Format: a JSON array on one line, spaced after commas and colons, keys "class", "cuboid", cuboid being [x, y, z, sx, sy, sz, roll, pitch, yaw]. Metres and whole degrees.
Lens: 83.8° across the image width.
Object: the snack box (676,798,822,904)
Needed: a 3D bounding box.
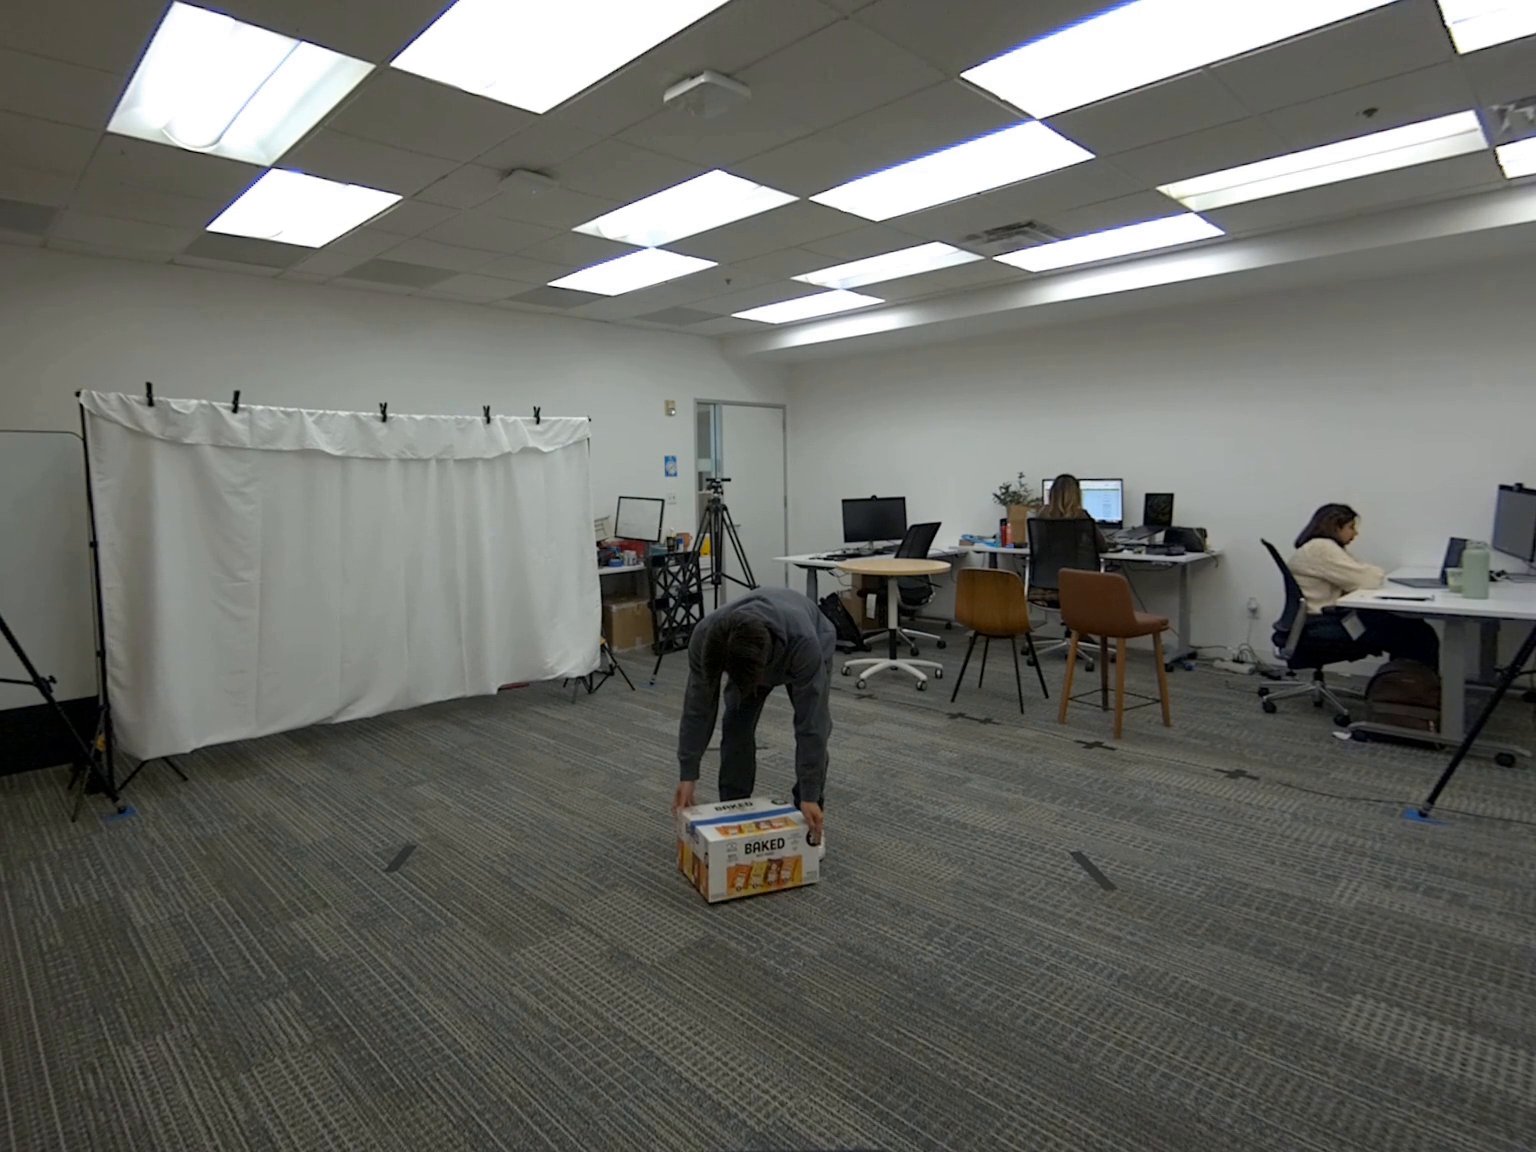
[{"class": "snack box", "cuboid": [-0.076, 0.941, 3.002, 0.397, 0.205, 0.348, -2, 4, -23]}]
